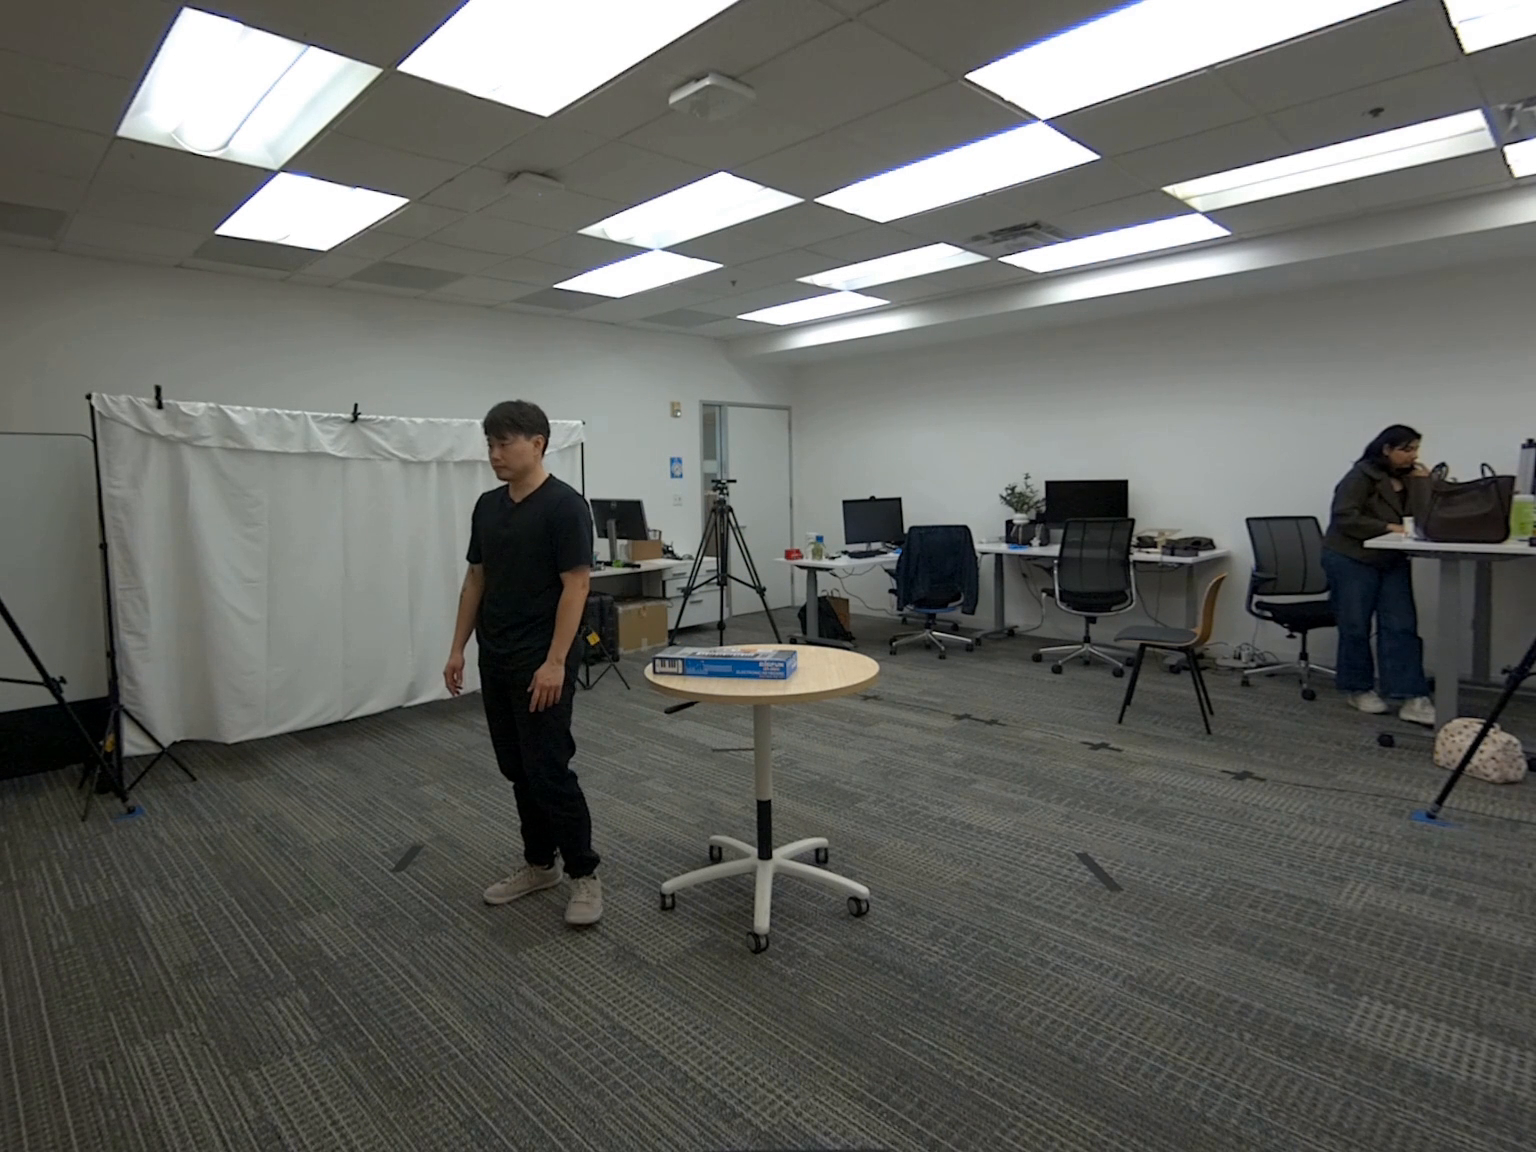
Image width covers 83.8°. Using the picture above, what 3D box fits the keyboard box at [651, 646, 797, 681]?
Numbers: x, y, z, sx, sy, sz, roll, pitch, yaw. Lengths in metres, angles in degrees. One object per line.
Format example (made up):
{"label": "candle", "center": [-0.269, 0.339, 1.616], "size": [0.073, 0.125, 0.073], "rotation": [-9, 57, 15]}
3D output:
{"label": "keyboard box", "center": [-0.136, 0.275, 2.751], "size": [0.444, 0.059, 0.174], "rotation": [0, 7, 16]}
